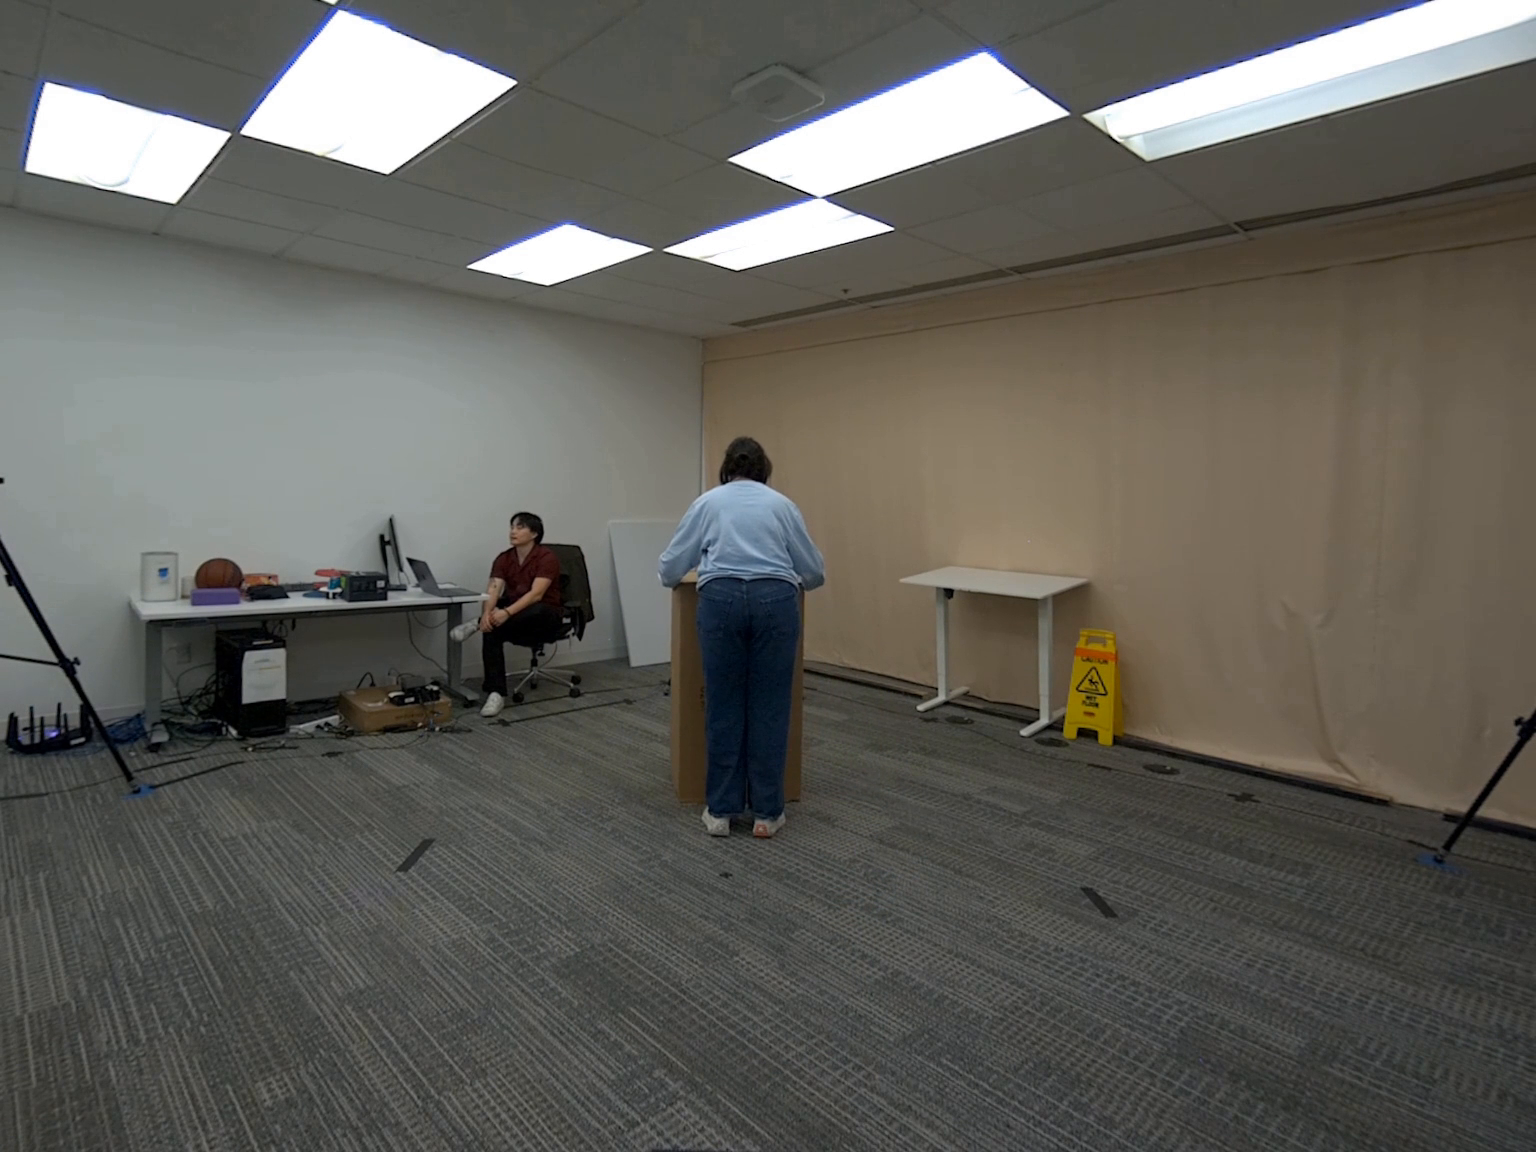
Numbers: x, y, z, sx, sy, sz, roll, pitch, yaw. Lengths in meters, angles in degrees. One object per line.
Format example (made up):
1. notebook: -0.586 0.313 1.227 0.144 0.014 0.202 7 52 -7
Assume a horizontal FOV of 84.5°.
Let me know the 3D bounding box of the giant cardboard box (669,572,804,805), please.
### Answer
1. giant cardboard box: -0.159 0.509 4.023 0.573 1.022 0.431 0 5 -10
